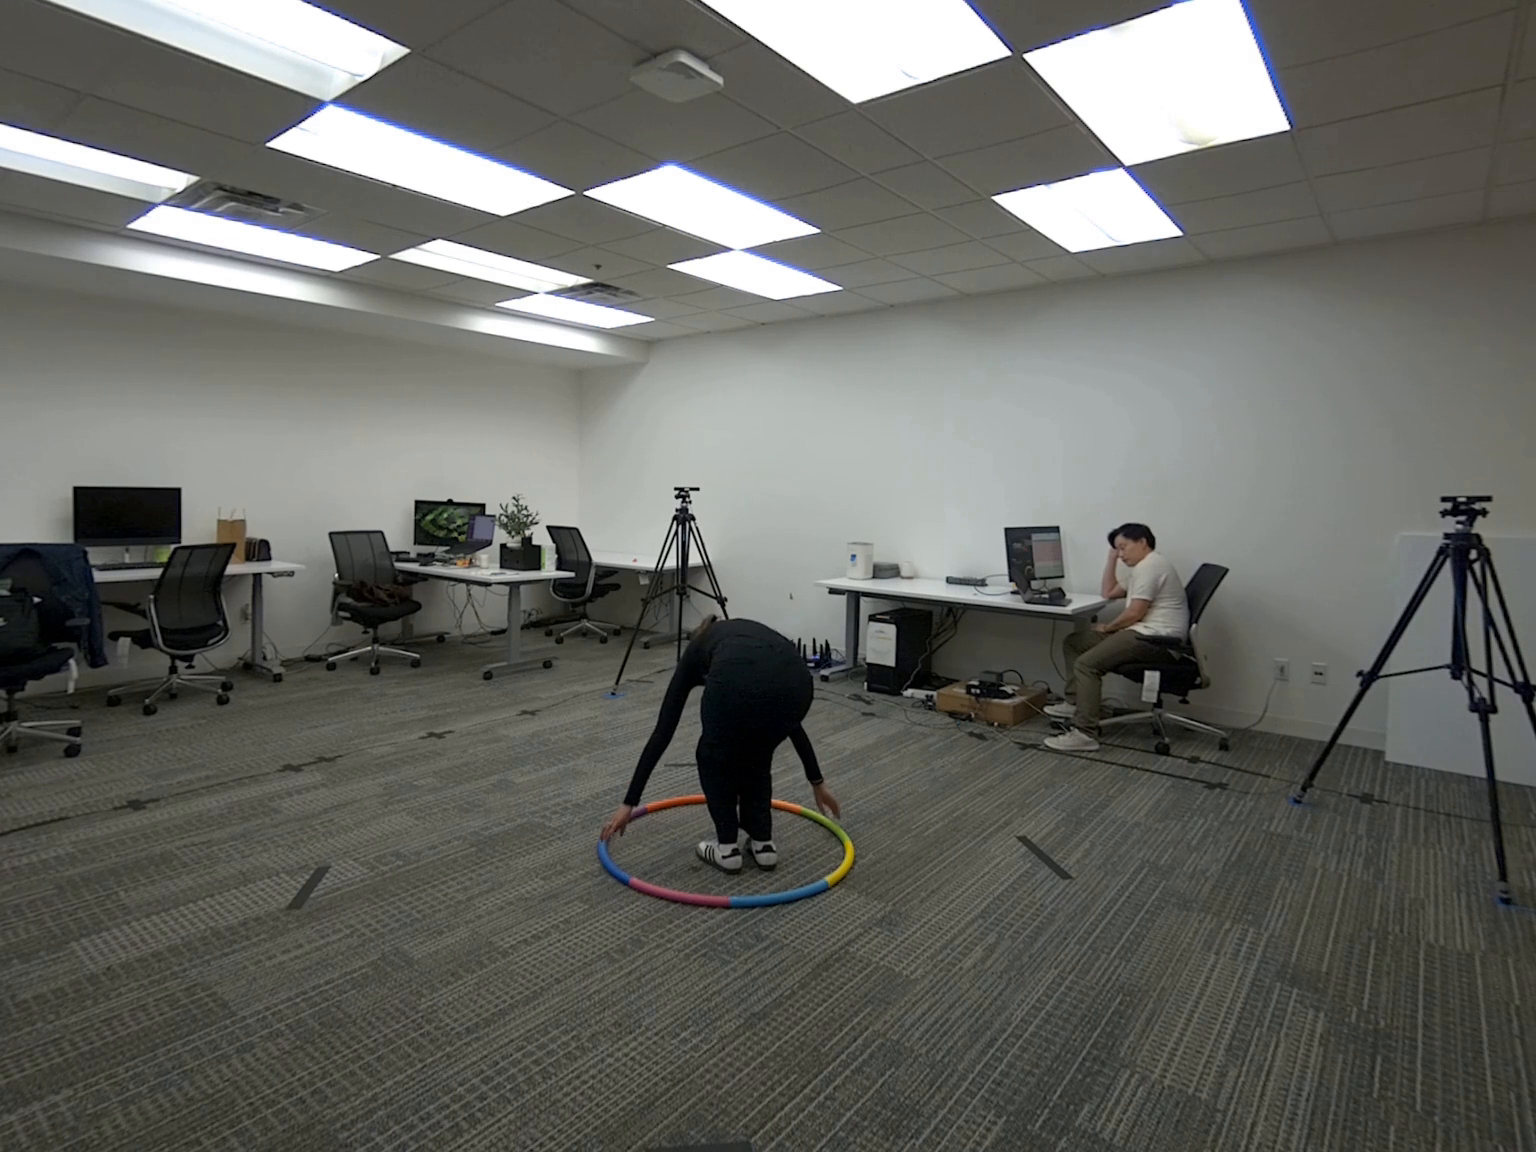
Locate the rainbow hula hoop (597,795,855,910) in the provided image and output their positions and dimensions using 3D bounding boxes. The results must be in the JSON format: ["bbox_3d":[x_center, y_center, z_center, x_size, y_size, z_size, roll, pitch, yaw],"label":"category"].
[{"bbox_3d":[-0.172,1.017,3.295,0.978,0.035,0.984,1,6,-2],"label":"rainbow hula hoop"}]
